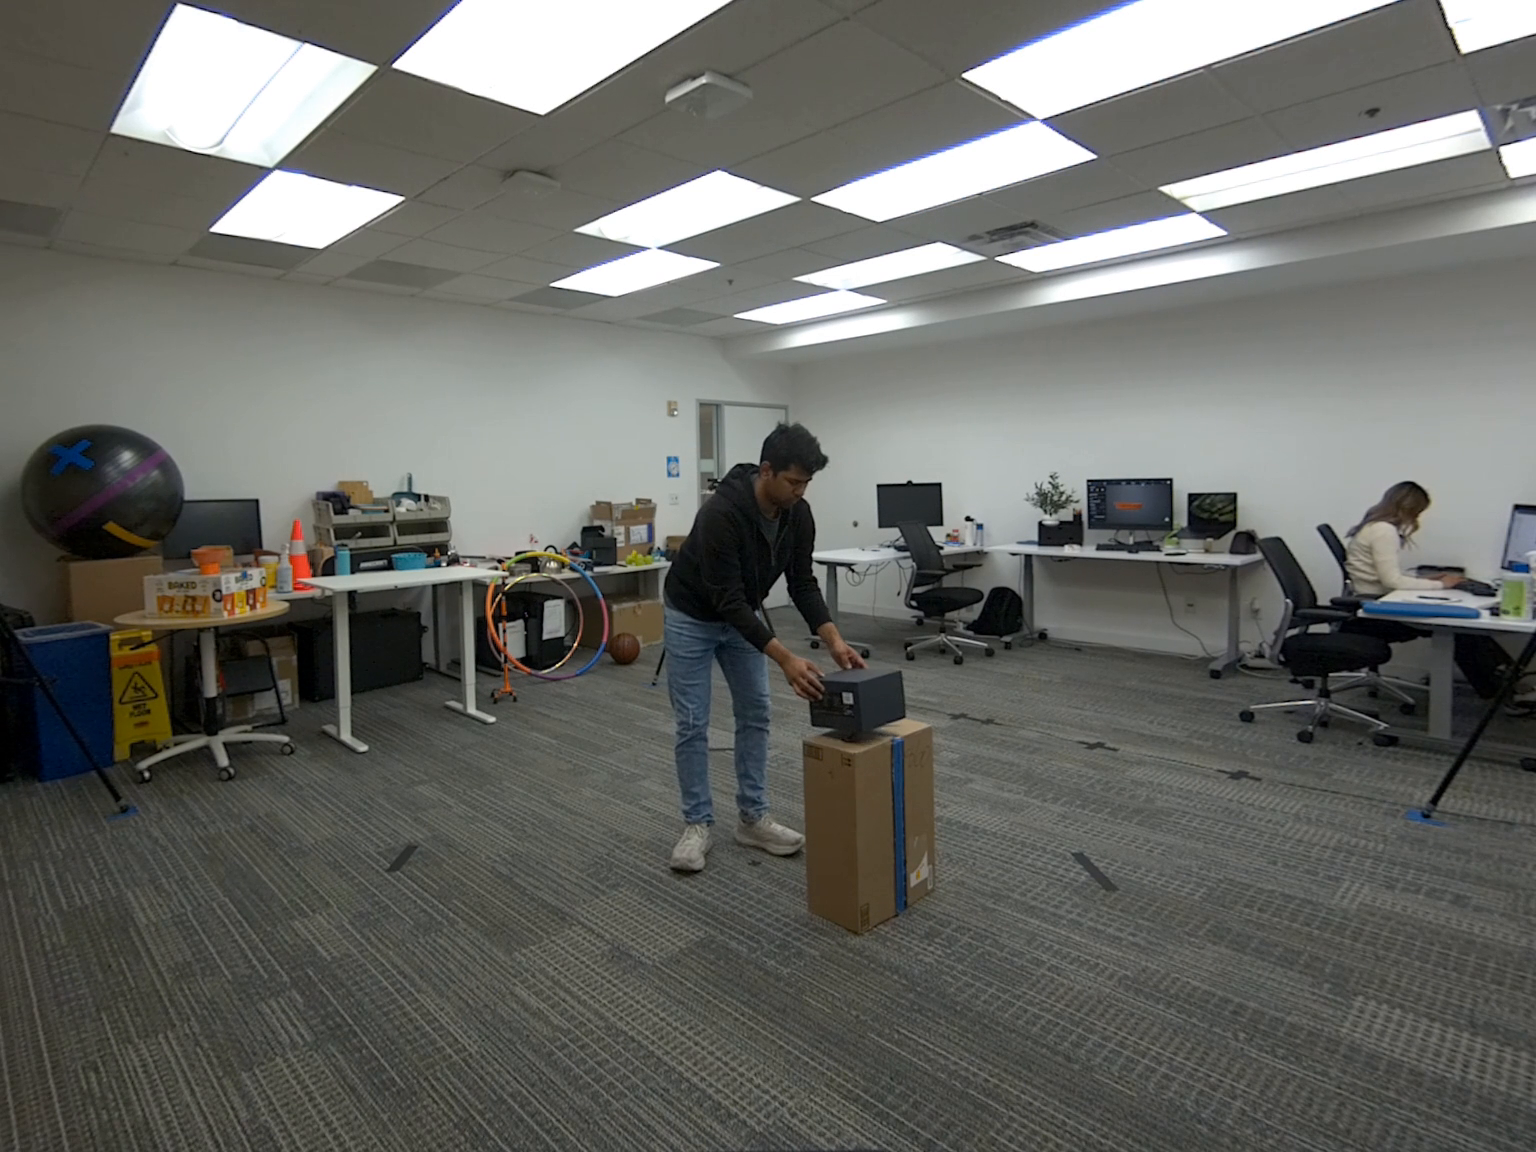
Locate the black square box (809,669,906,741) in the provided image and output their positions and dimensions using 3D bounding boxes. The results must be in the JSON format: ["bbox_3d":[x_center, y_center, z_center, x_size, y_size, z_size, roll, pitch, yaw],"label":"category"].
[{"bbox_3d":[0.278,0.399,2.770,0.222,0.156,0.222,-6,0,-43],"label":"black square box"}]
